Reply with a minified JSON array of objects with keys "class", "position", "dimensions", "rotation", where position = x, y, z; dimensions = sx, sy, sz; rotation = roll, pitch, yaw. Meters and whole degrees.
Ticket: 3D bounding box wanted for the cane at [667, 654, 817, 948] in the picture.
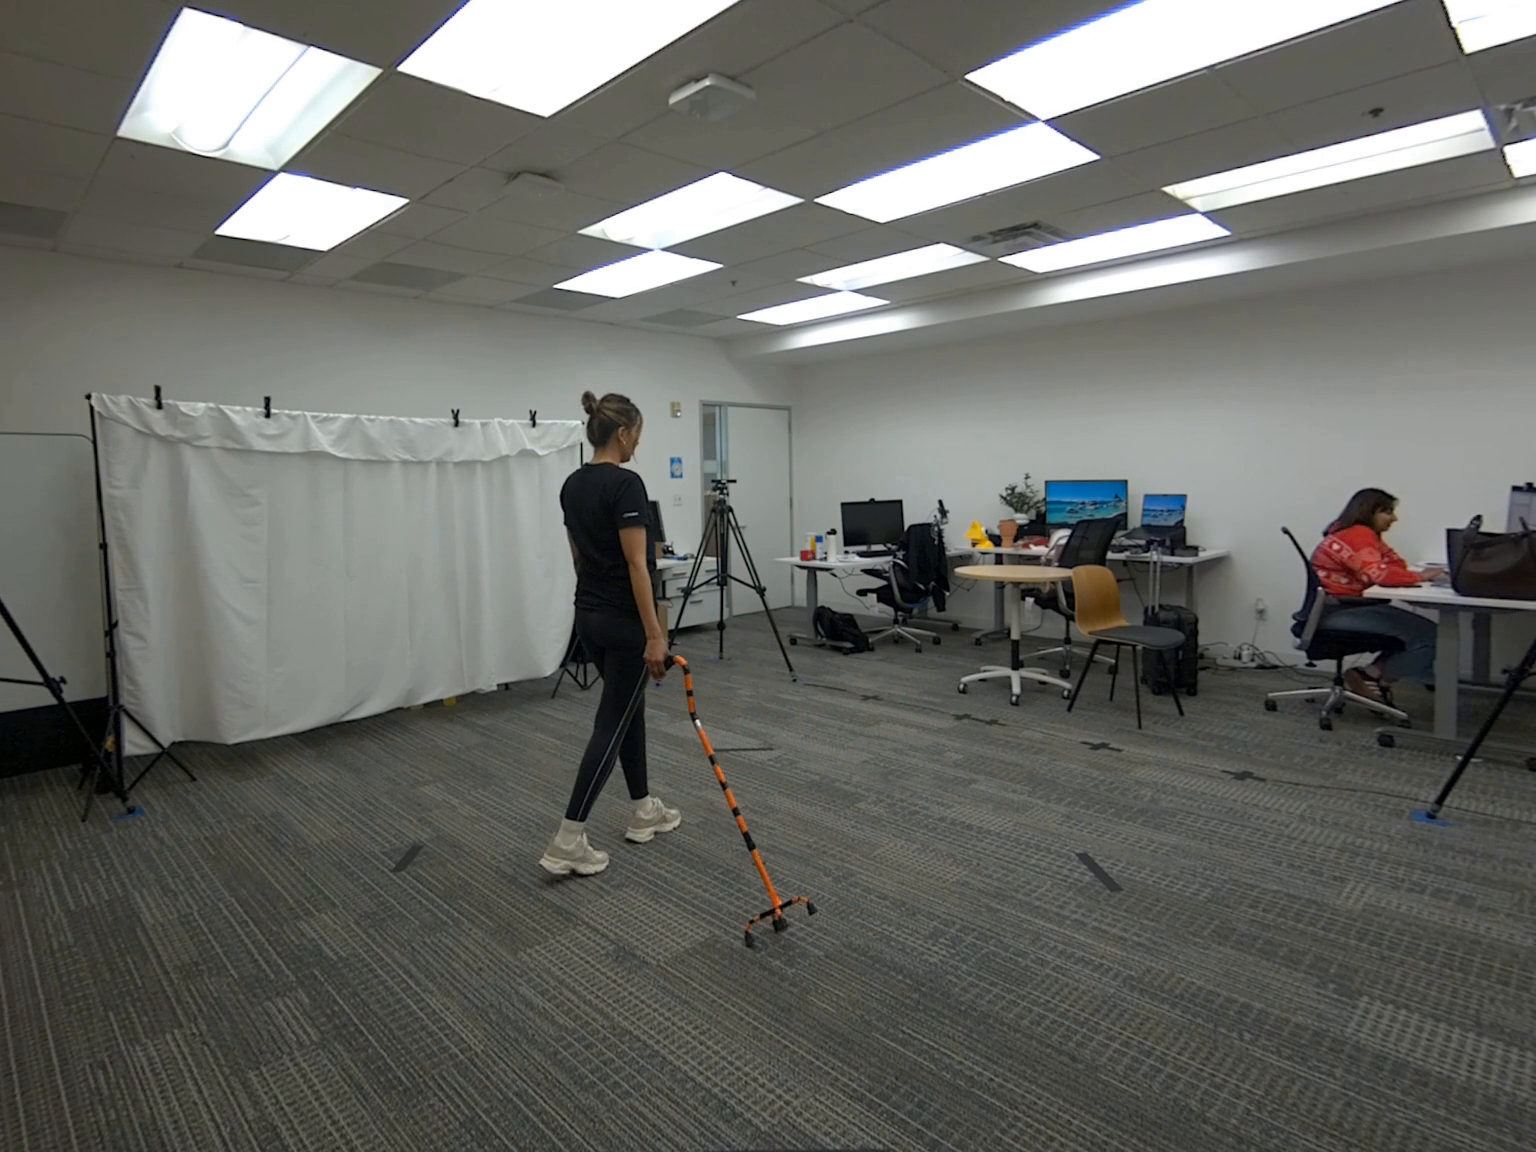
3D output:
[{"class":"cane","position":[-0.145,0.668,2.713],"dimensions":[0.147,0.932,0.206],"rotation":[-5,-31,-44]}]
